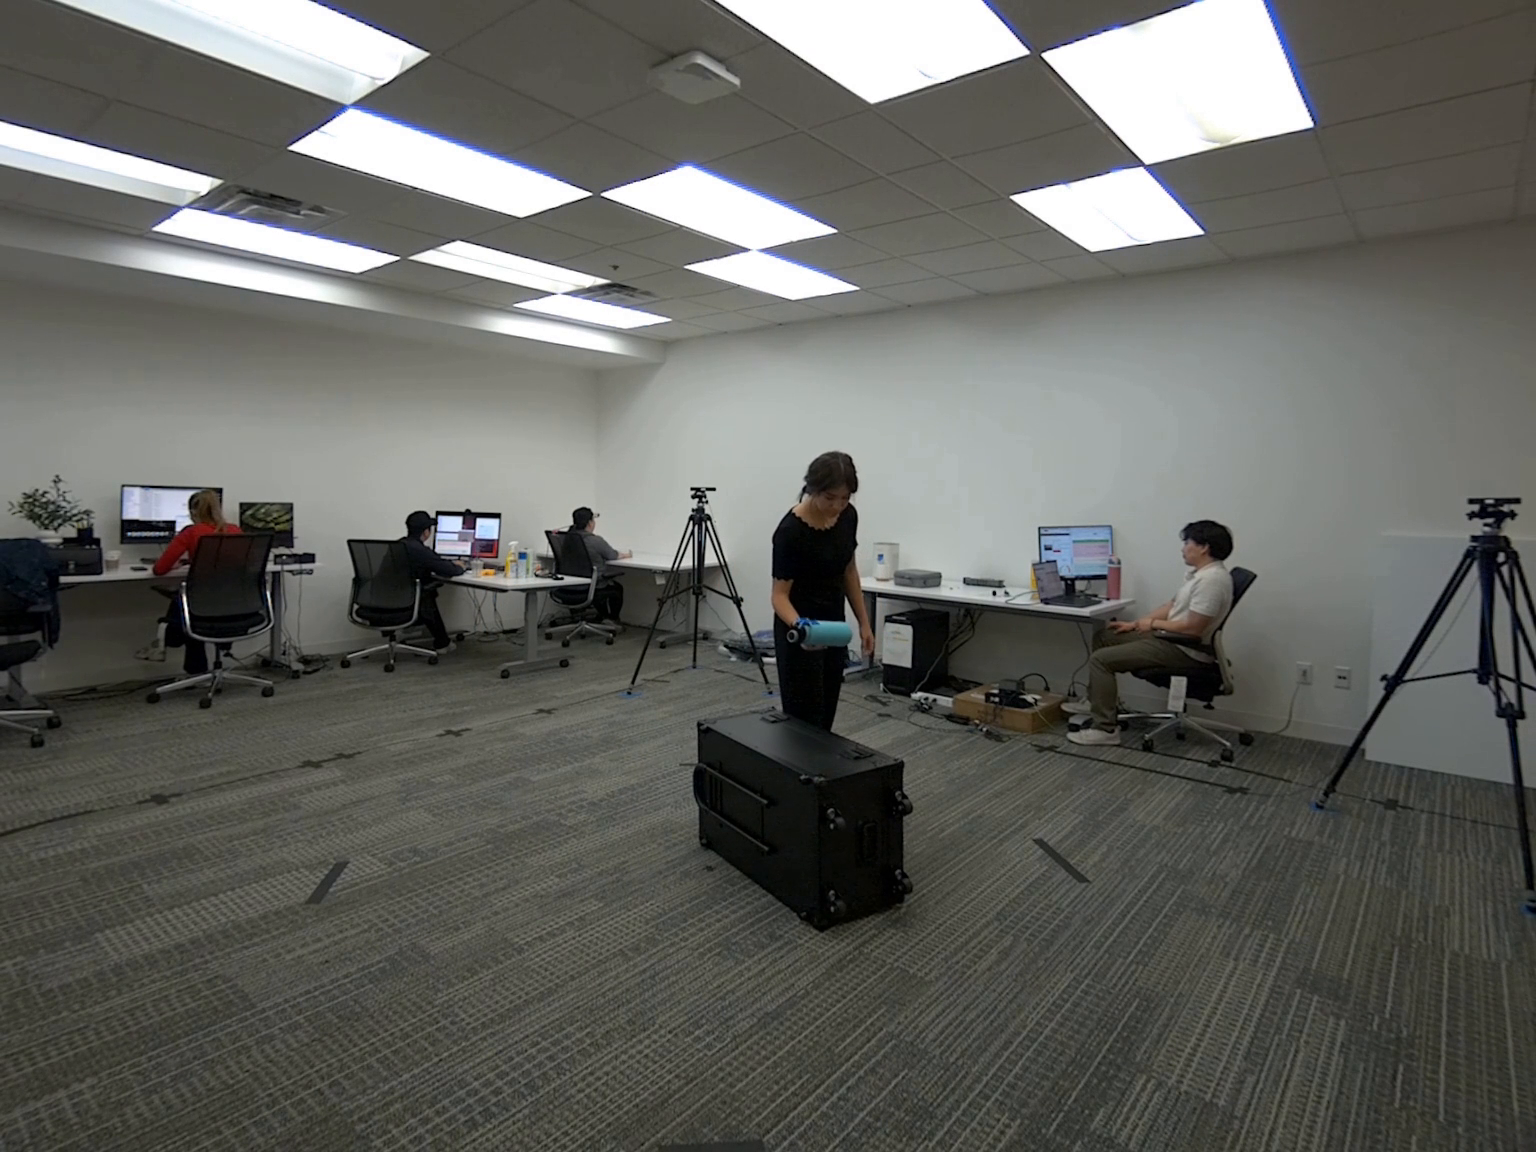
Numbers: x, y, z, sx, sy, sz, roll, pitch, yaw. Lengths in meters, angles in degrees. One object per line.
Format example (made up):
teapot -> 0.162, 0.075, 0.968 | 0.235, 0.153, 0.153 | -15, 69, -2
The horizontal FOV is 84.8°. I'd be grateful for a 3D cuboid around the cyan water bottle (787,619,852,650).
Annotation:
cyan water bottle -> 0.170, 0.200, 3.052 | 0.095, 0.092, 0.273 | 5, -1, 44
